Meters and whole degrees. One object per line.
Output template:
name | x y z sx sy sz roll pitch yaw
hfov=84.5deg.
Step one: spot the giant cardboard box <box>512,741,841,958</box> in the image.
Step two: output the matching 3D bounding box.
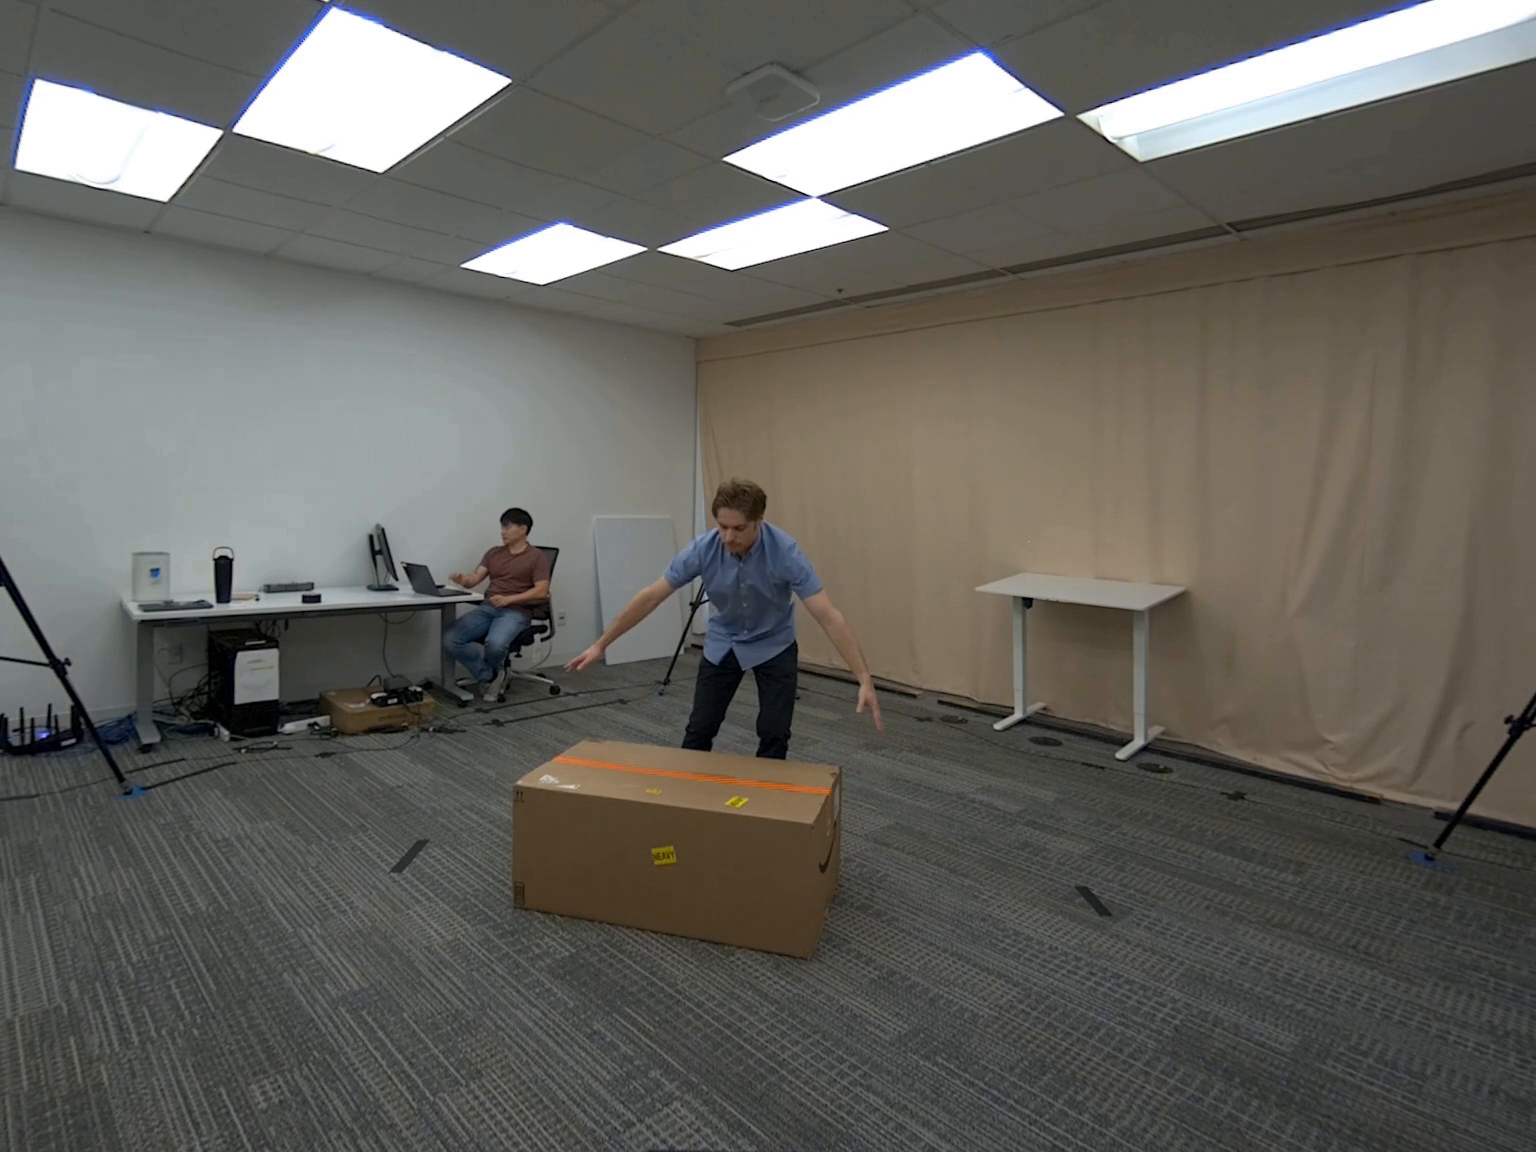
giant cardboard box | -0.295 0.901 2.939 1.040 0.446 0.577 2 3 15
